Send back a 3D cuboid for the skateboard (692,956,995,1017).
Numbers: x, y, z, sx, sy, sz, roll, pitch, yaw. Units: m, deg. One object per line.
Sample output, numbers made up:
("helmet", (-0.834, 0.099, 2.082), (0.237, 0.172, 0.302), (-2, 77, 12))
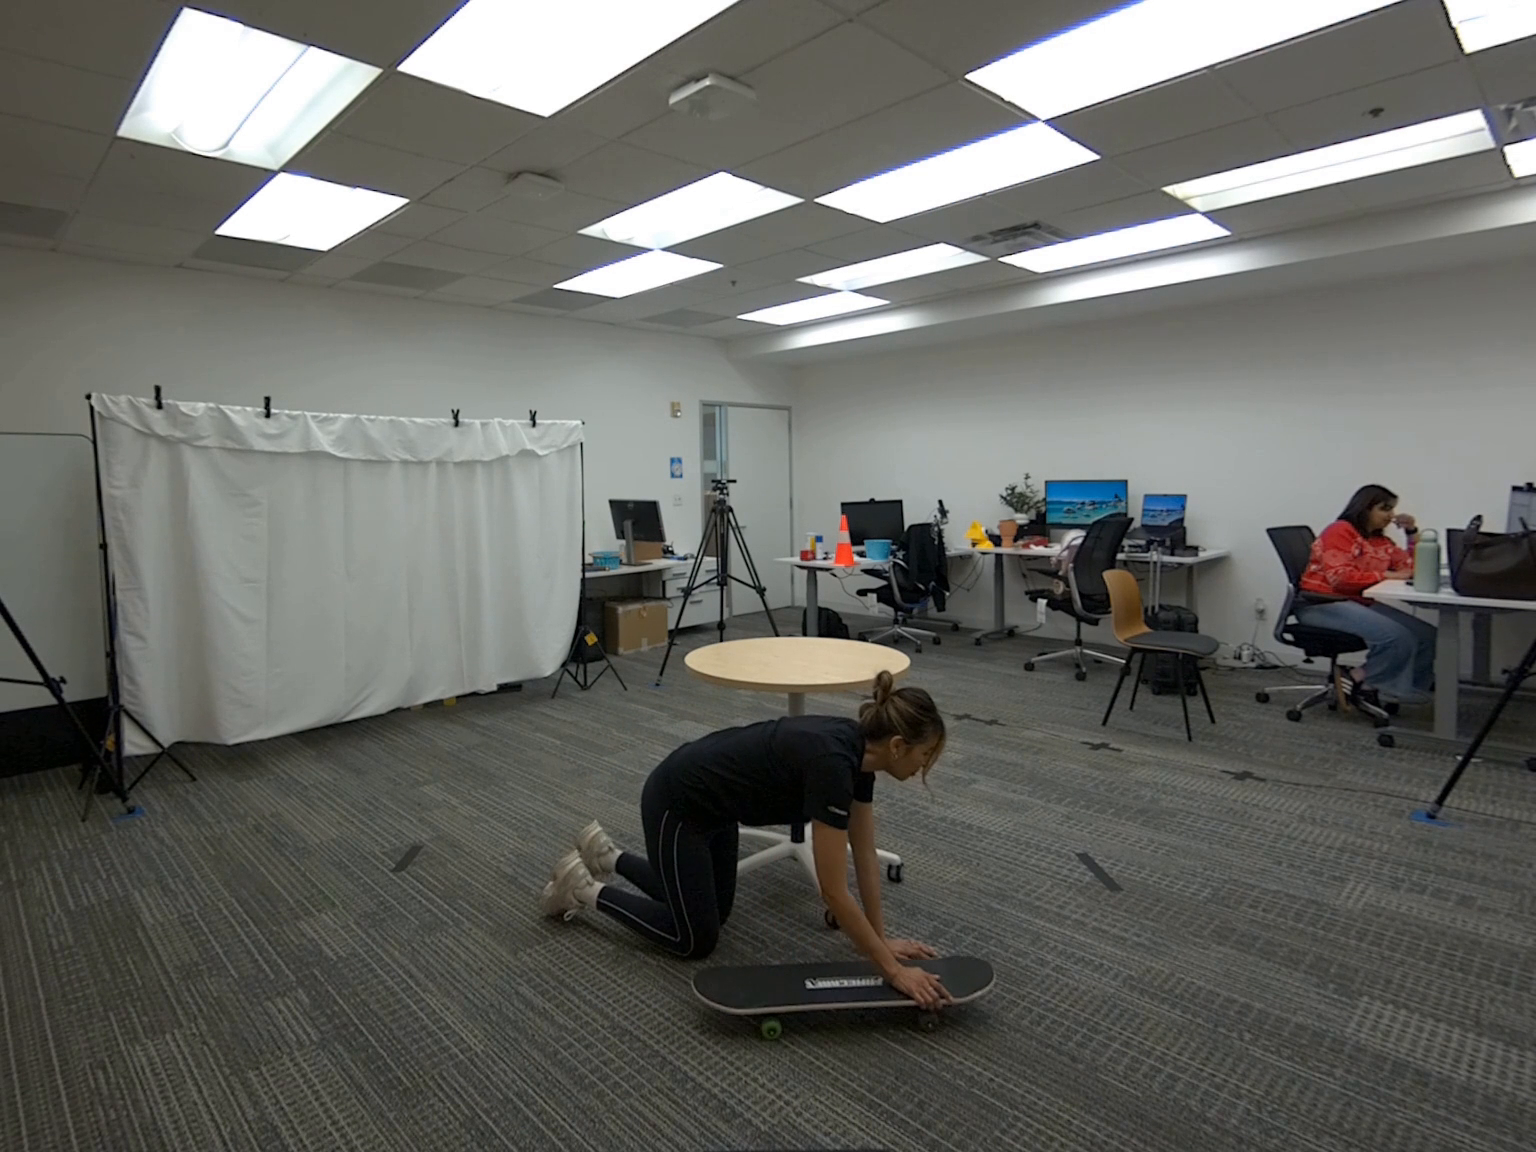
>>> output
("skateboard", (0.199, 1.089, 2.218), (0.784, 0.110, 0.194), (-2, 4, -2))
